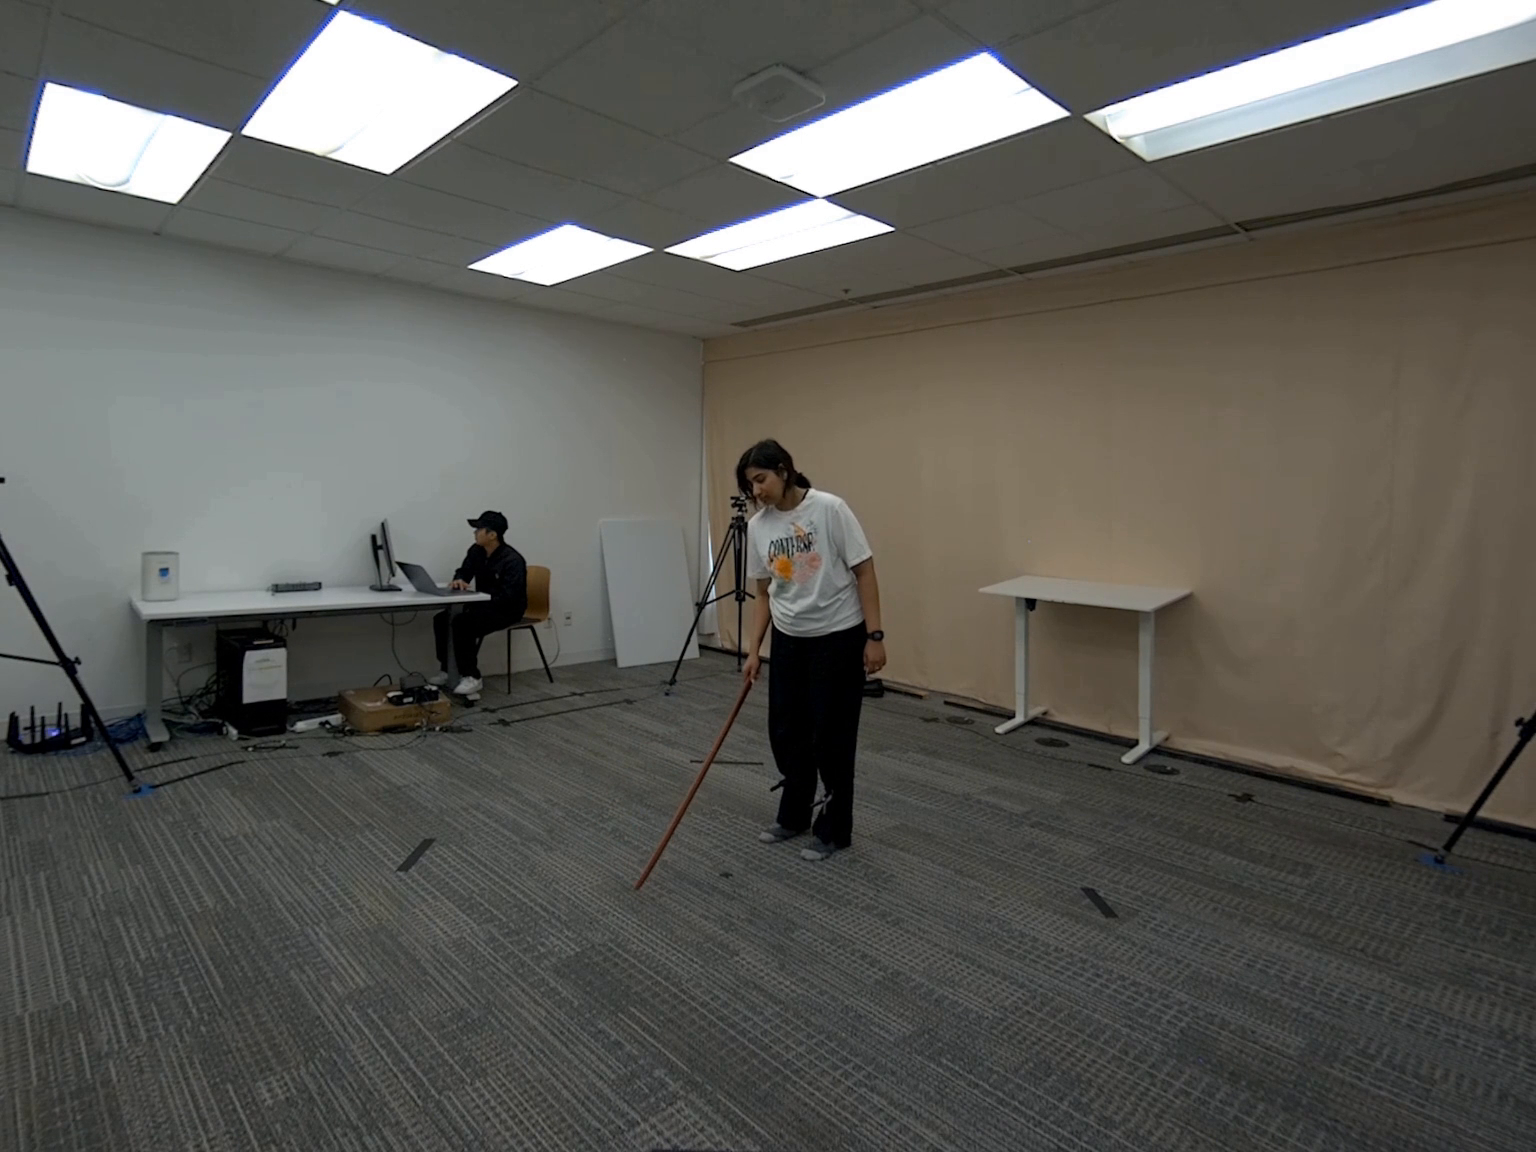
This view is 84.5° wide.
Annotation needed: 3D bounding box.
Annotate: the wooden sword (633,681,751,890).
[{"bbox_3d":[-0.245,0.720,3.156,0.024,1.031,0.051,41,-39,-13],"label":"wooden sword"}]
